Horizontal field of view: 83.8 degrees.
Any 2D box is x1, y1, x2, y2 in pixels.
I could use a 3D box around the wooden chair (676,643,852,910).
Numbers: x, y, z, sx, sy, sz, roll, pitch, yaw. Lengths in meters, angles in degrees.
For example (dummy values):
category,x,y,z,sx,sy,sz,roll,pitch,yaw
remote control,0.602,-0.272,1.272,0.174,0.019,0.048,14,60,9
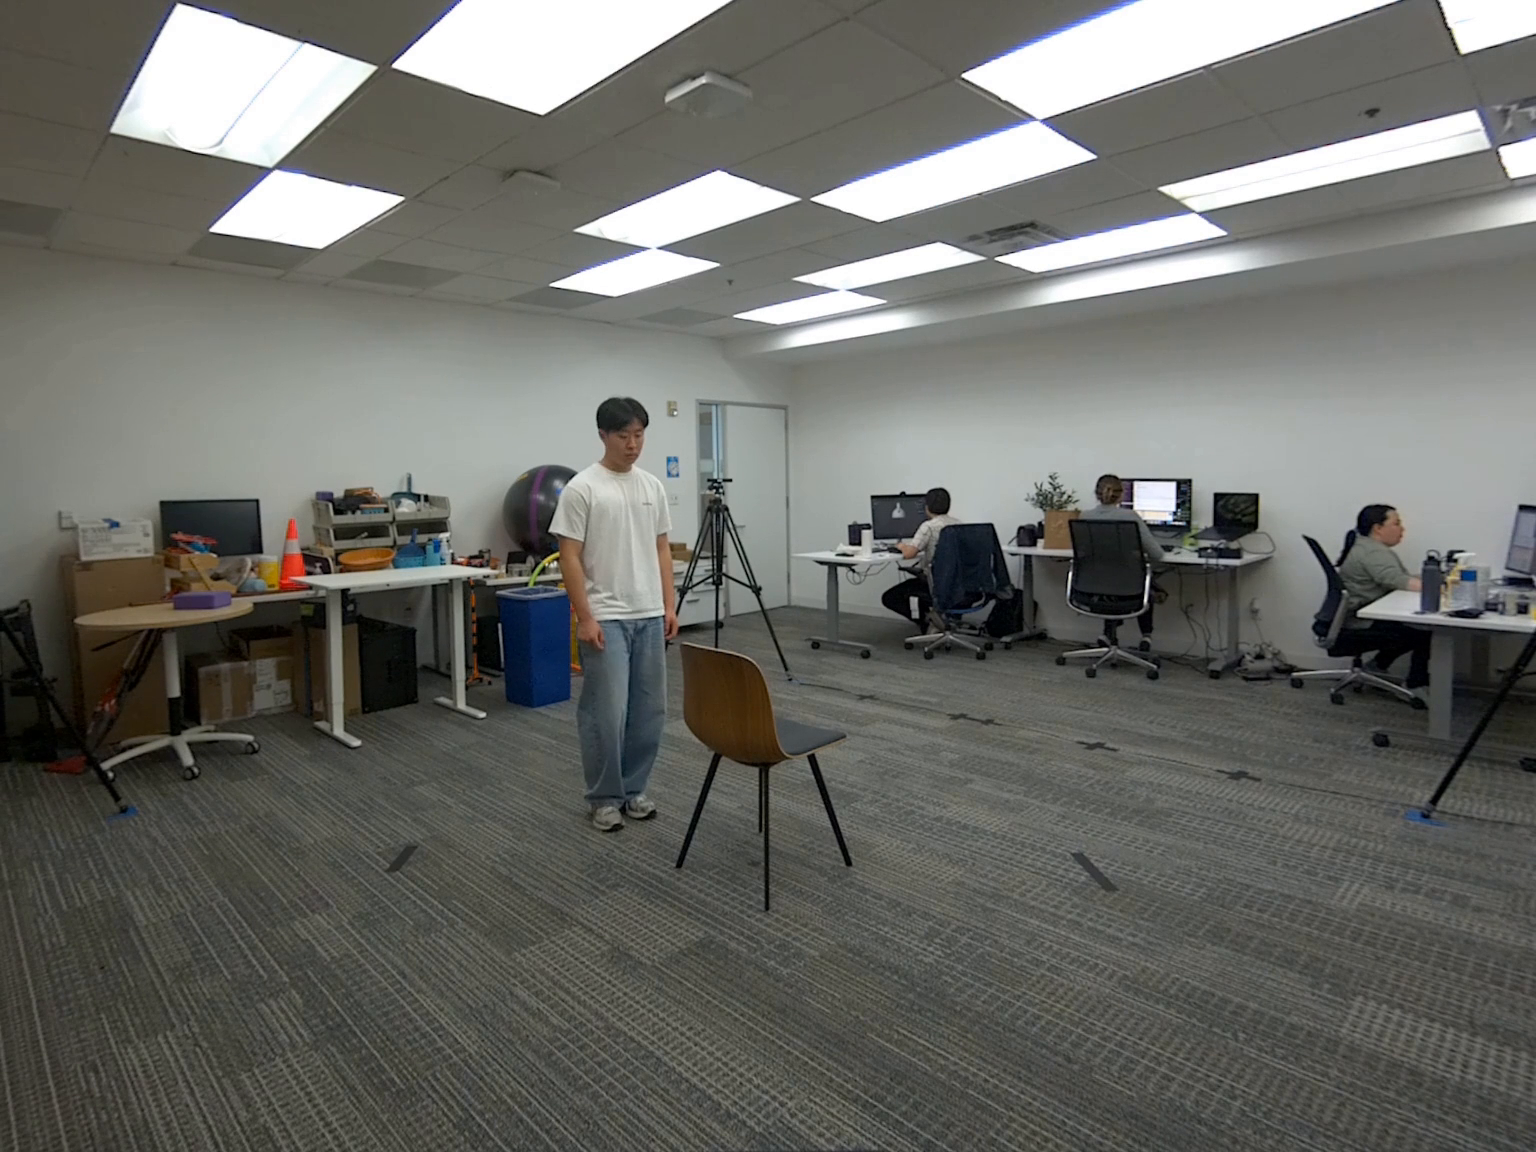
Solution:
category,x,y,z,sx,sy,sz,roll,pitch,yaw
wooden chair,-0.013,0.624,3.048,0.493,0.871,0.511,3,10,44
